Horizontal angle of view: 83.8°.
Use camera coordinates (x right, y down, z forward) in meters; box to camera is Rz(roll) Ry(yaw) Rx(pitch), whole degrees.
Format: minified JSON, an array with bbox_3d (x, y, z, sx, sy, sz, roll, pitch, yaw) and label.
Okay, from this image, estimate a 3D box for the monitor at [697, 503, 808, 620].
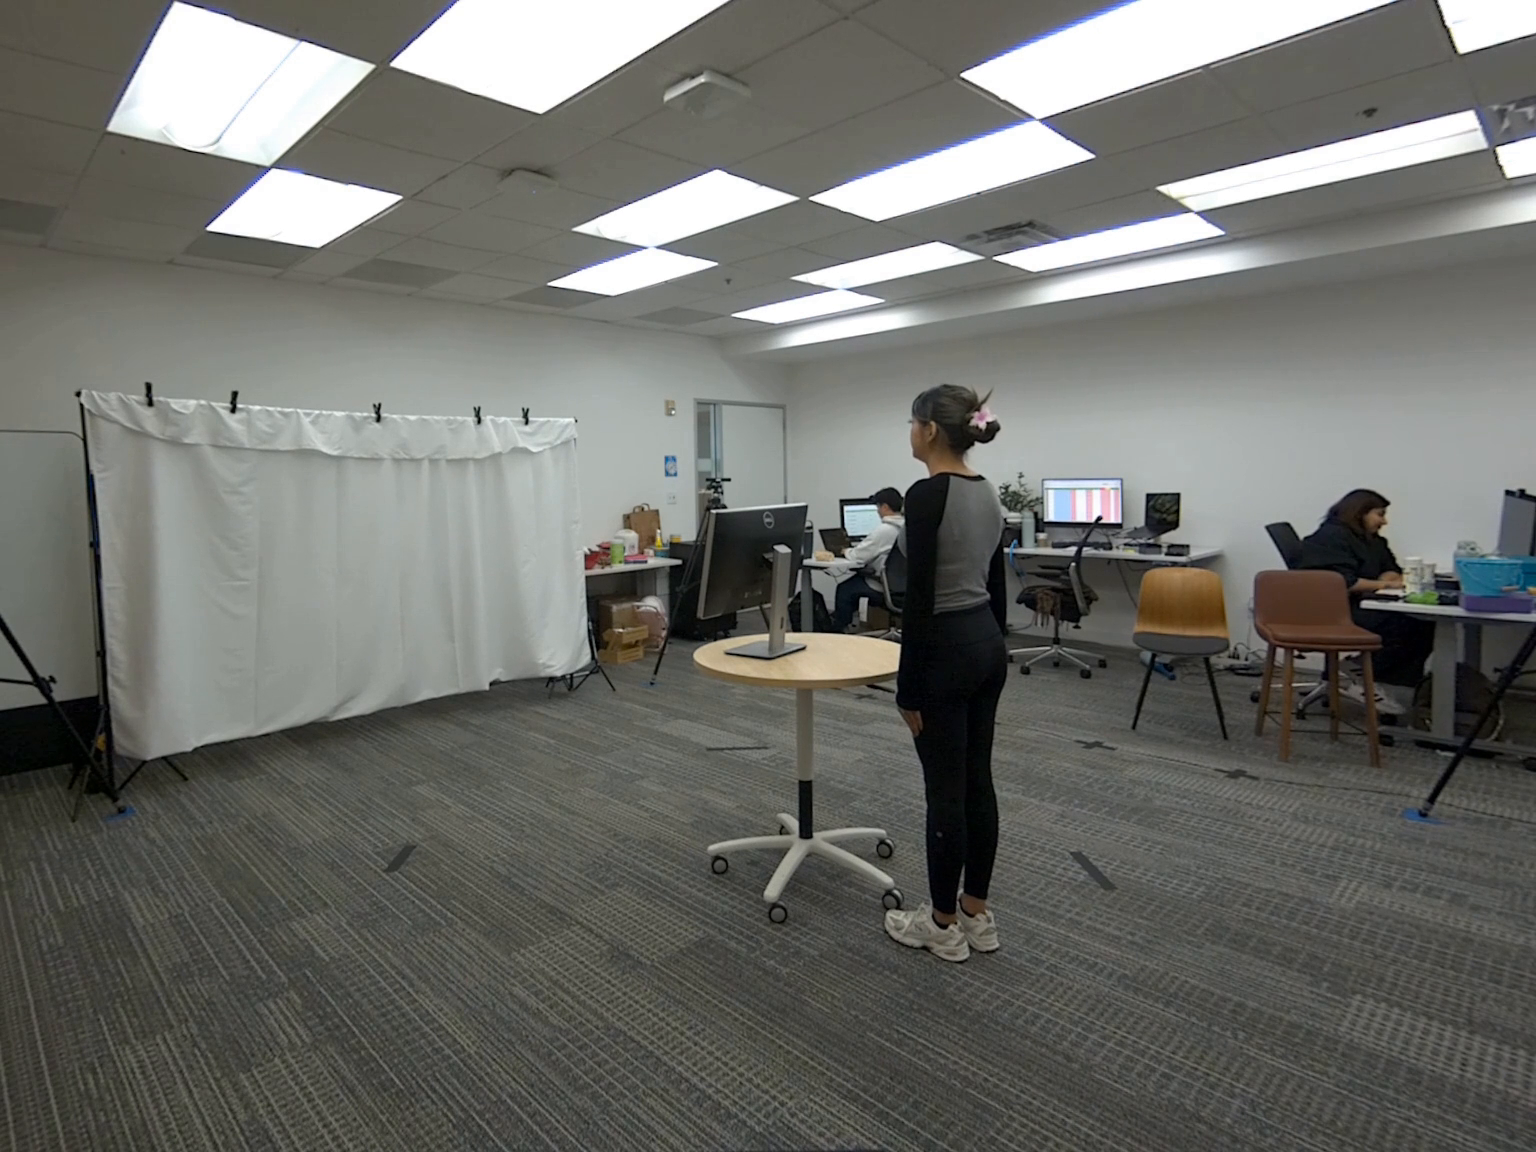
[{"bbox_3d":[-0.010,0.022,2.977,0.192,0.521,0.526,-2,3,35],"label":"monitor"}]
